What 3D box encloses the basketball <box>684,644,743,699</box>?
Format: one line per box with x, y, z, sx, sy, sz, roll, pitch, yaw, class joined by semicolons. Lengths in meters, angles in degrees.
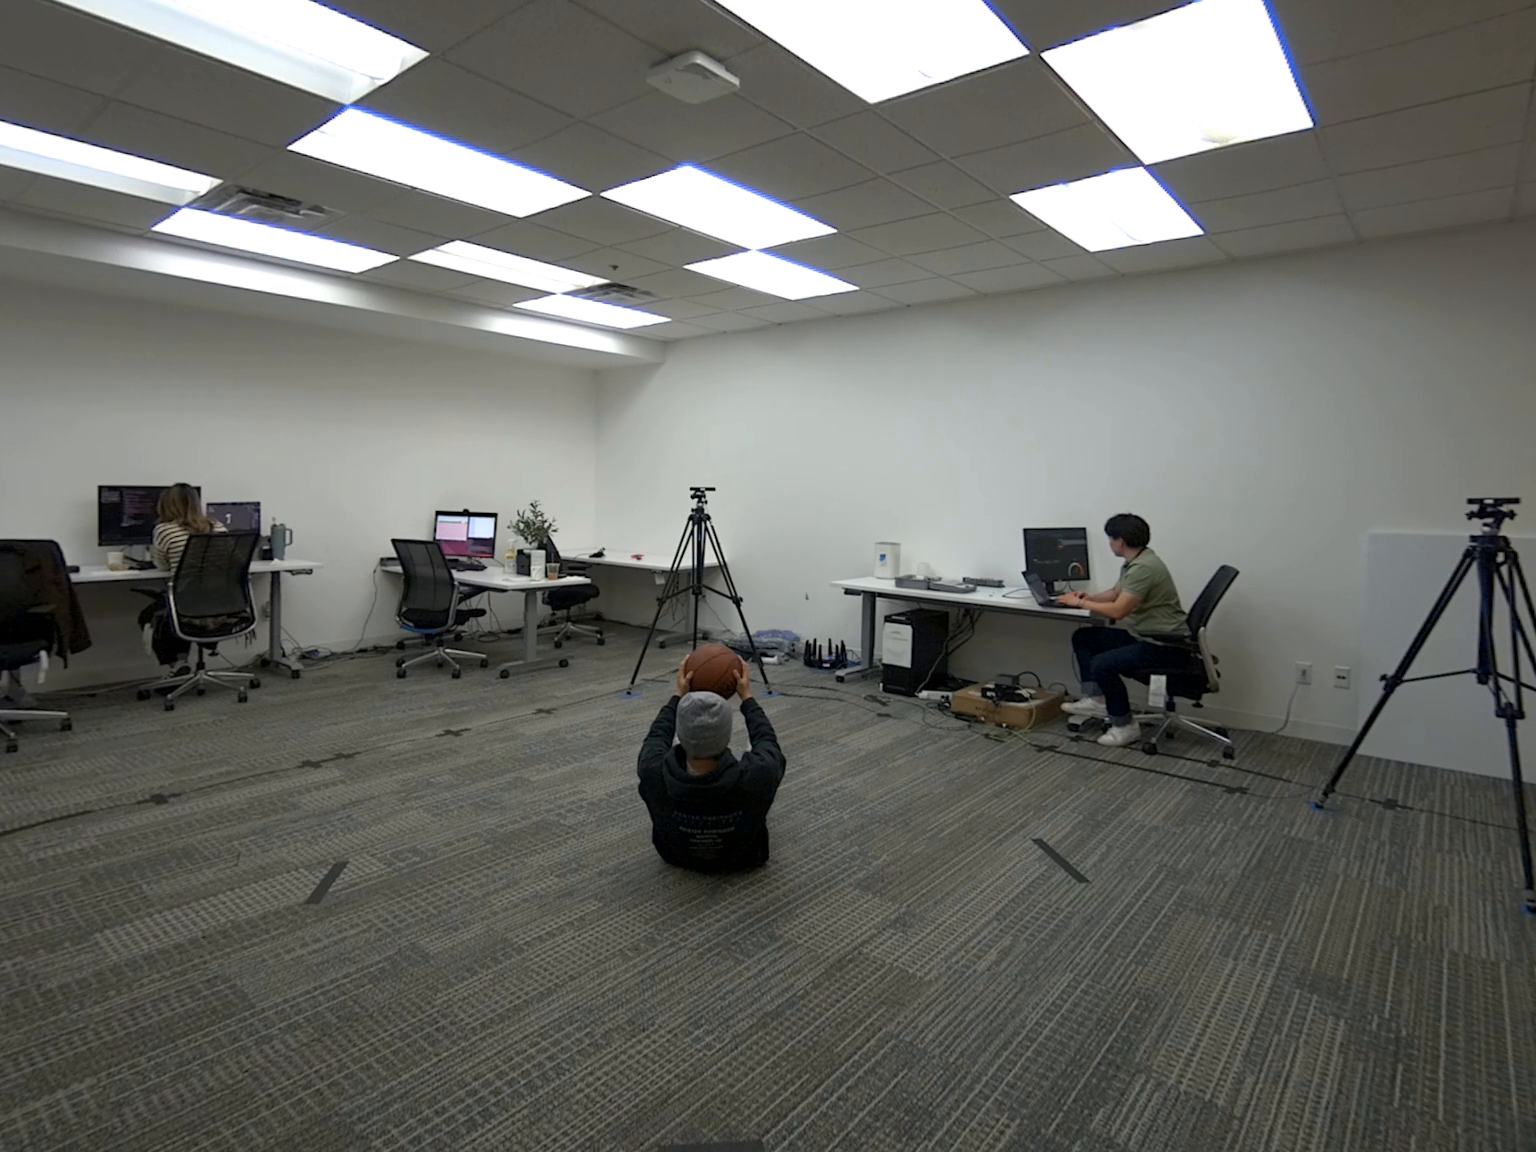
-0.226;0.389;3.440;0.235;0.235;0.237;1;4;-2;basketball
